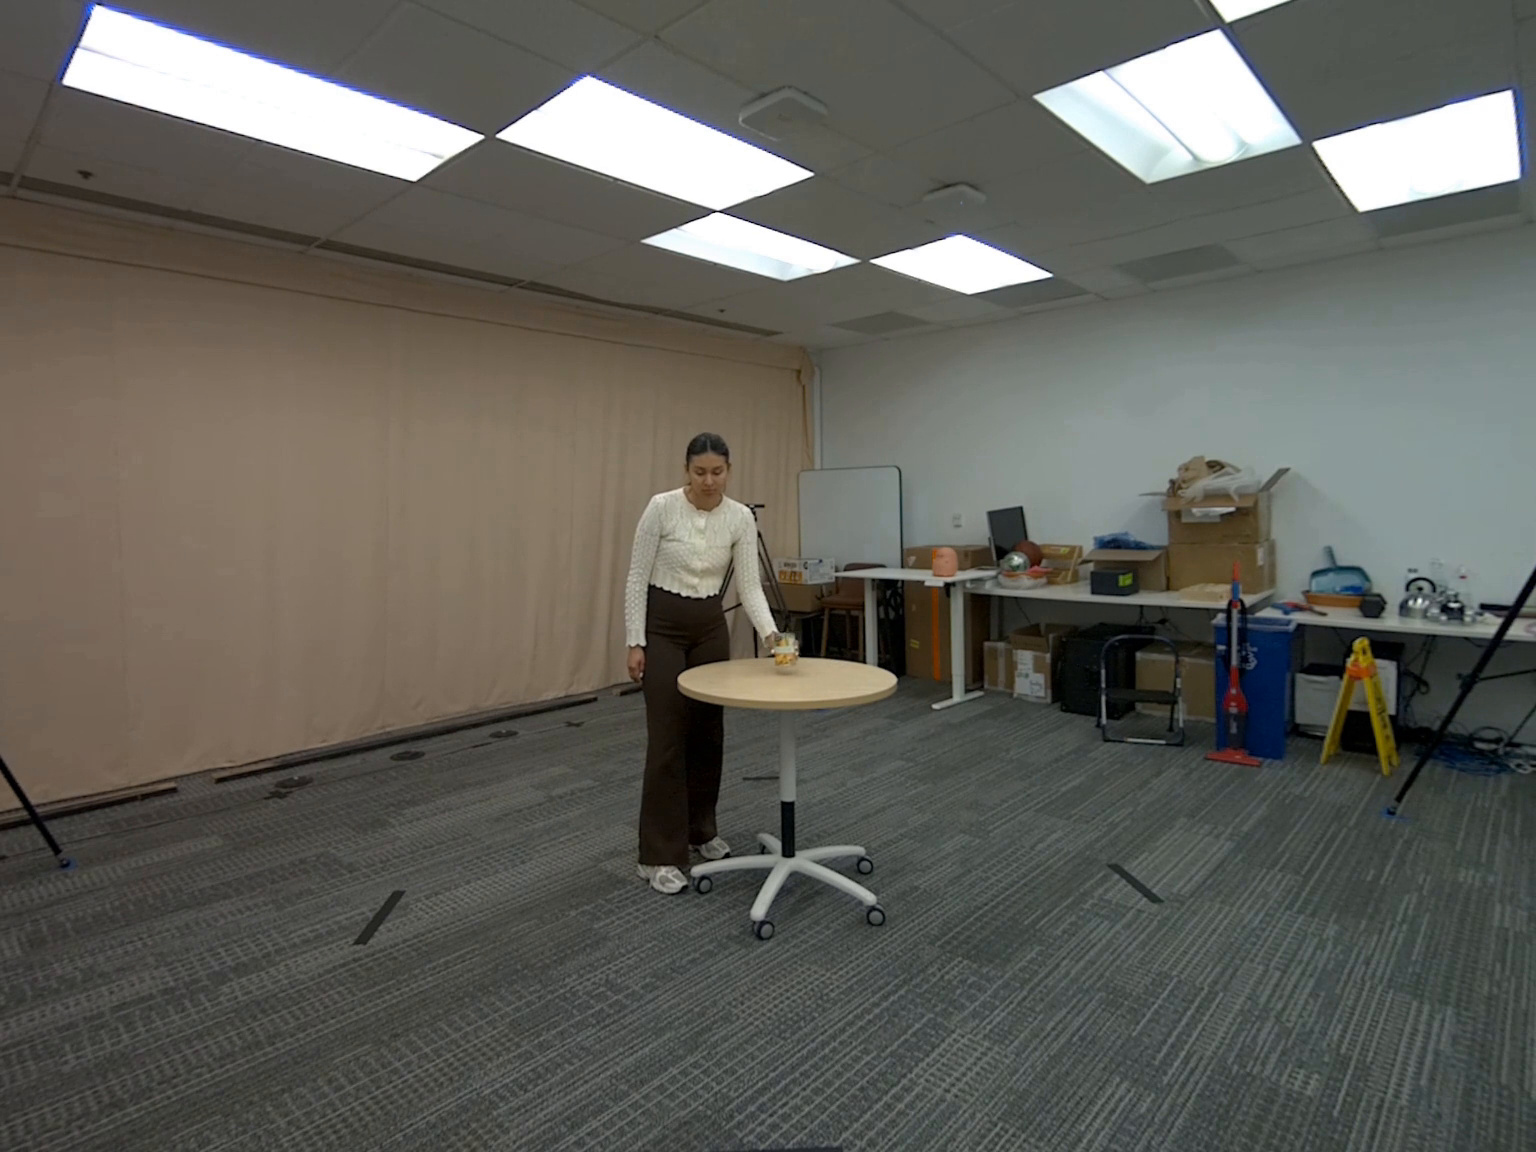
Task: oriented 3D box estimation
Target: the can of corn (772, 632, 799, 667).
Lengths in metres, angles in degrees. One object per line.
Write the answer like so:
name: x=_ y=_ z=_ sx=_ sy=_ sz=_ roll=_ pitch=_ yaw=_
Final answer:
can of corn: x=0.069 y=0.262 z=3.009 sx=0.074 sy=0.111 sz=0.074 roll=-5 pitch=-3 yaw=-2
